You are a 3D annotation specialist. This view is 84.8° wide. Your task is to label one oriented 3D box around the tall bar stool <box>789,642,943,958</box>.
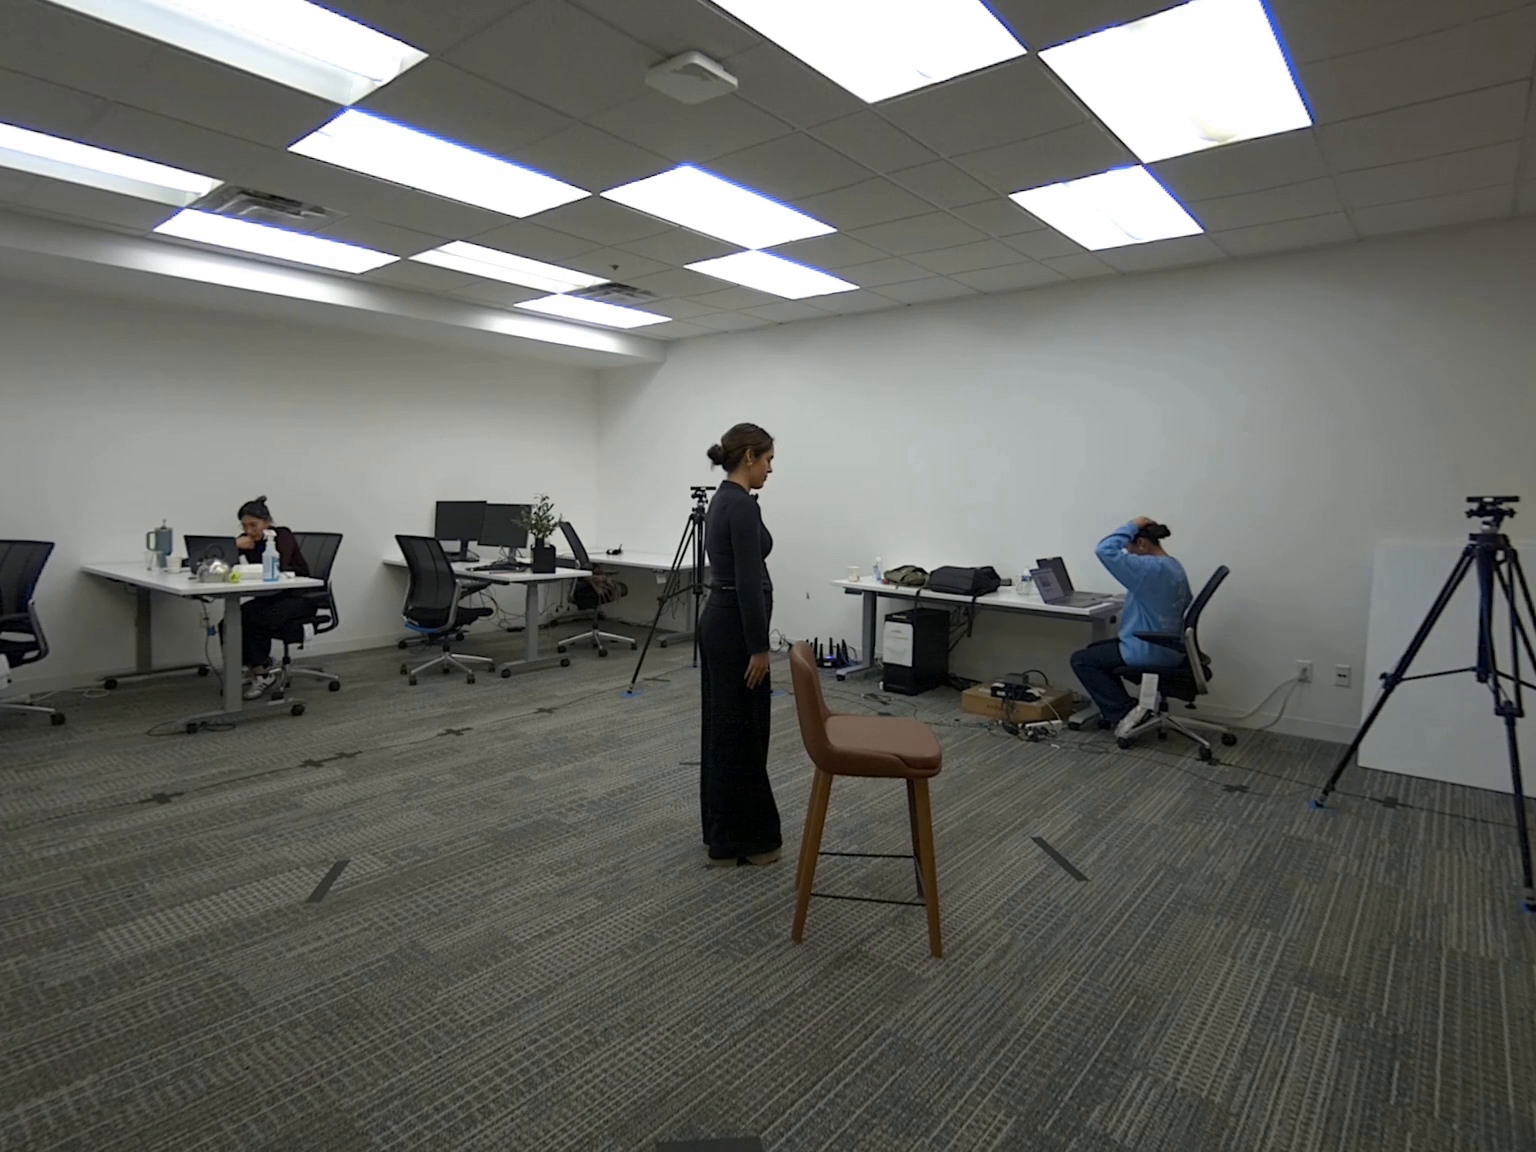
[{"bbox_3d":[0.309,0.677,2.748,0.471,0.887,0.454,0,3,6],"label":"tall bar stool"}]
